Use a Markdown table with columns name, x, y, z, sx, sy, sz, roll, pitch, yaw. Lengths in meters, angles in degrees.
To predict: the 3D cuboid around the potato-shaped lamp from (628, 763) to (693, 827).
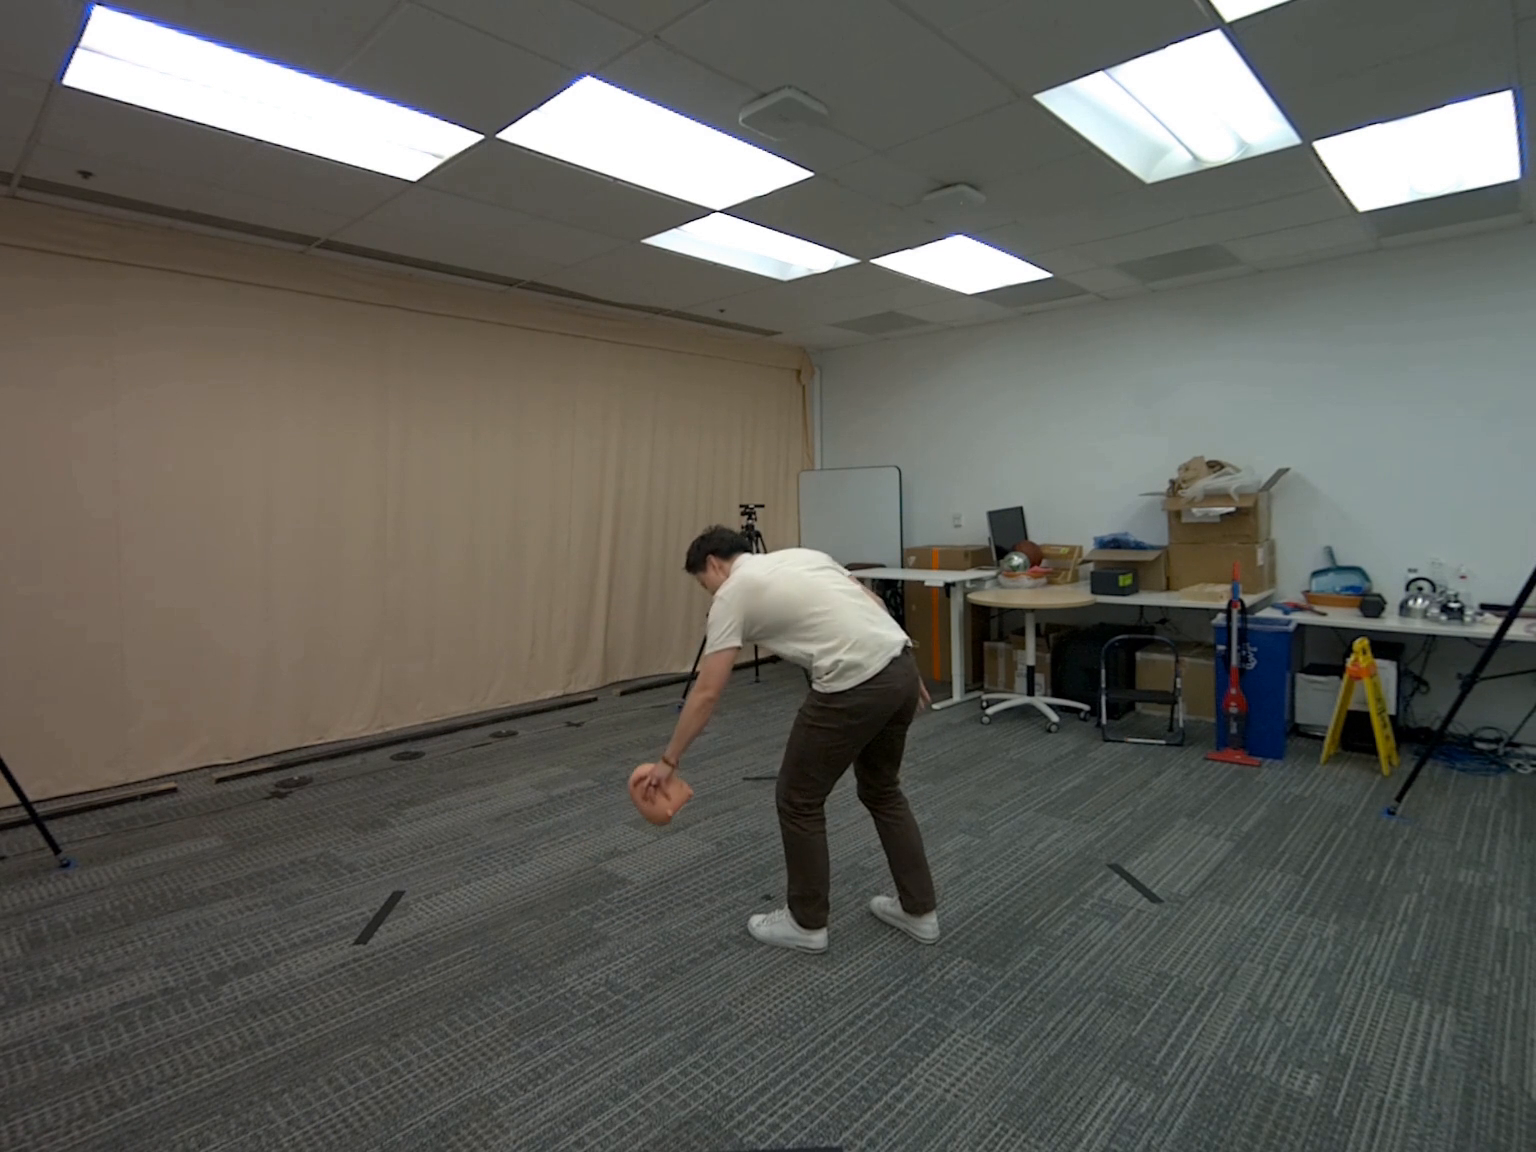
| name | x | y | z | sx | sy | sz | roll | pitch | yaw |
| --- | --- | --- | --- | --- | --- | --- | --- | --- | --- |
| potato-shaped lamp | -0.348 | 0.690 | 2.692 | 0.163 | 0.200 | 0.171 | -47 | -8 | -44 |
